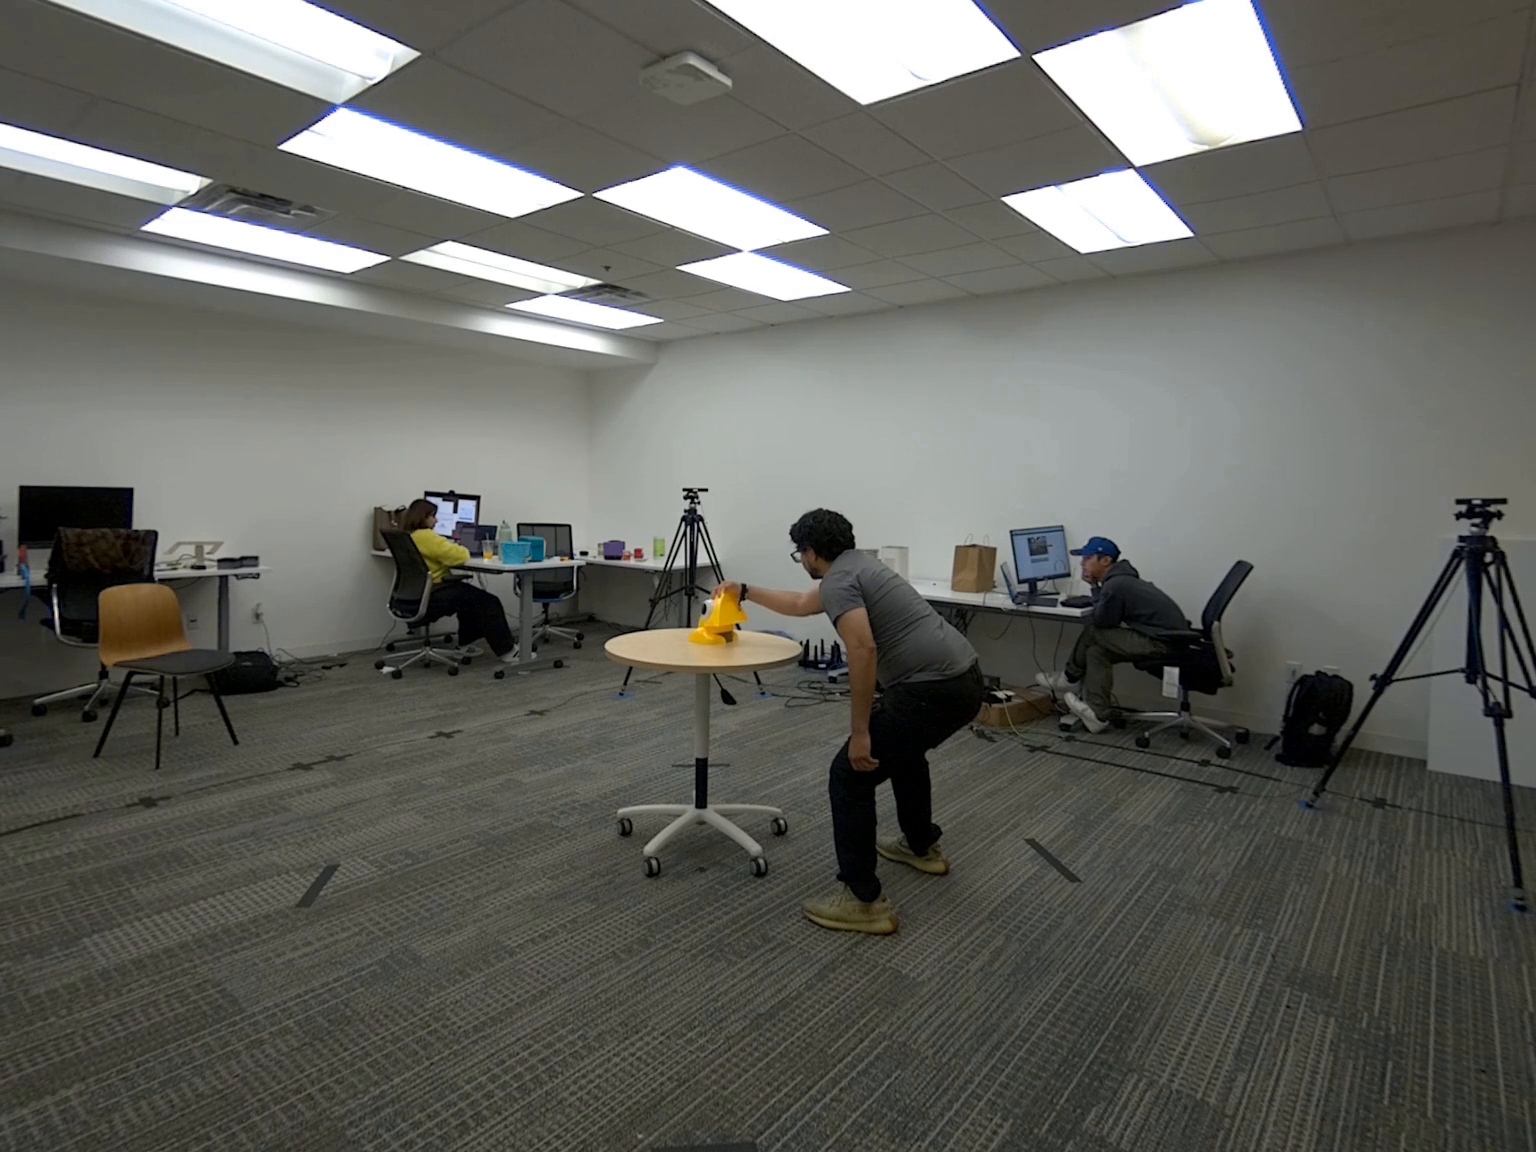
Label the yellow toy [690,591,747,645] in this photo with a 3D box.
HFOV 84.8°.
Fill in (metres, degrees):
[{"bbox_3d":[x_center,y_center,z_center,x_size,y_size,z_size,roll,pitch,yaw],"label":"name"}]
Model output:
[{"bbox_3d":[-0.218,0.143,3.421,0.199,0.230,0.199,4,4,36],"label":"yellow toy"}]
